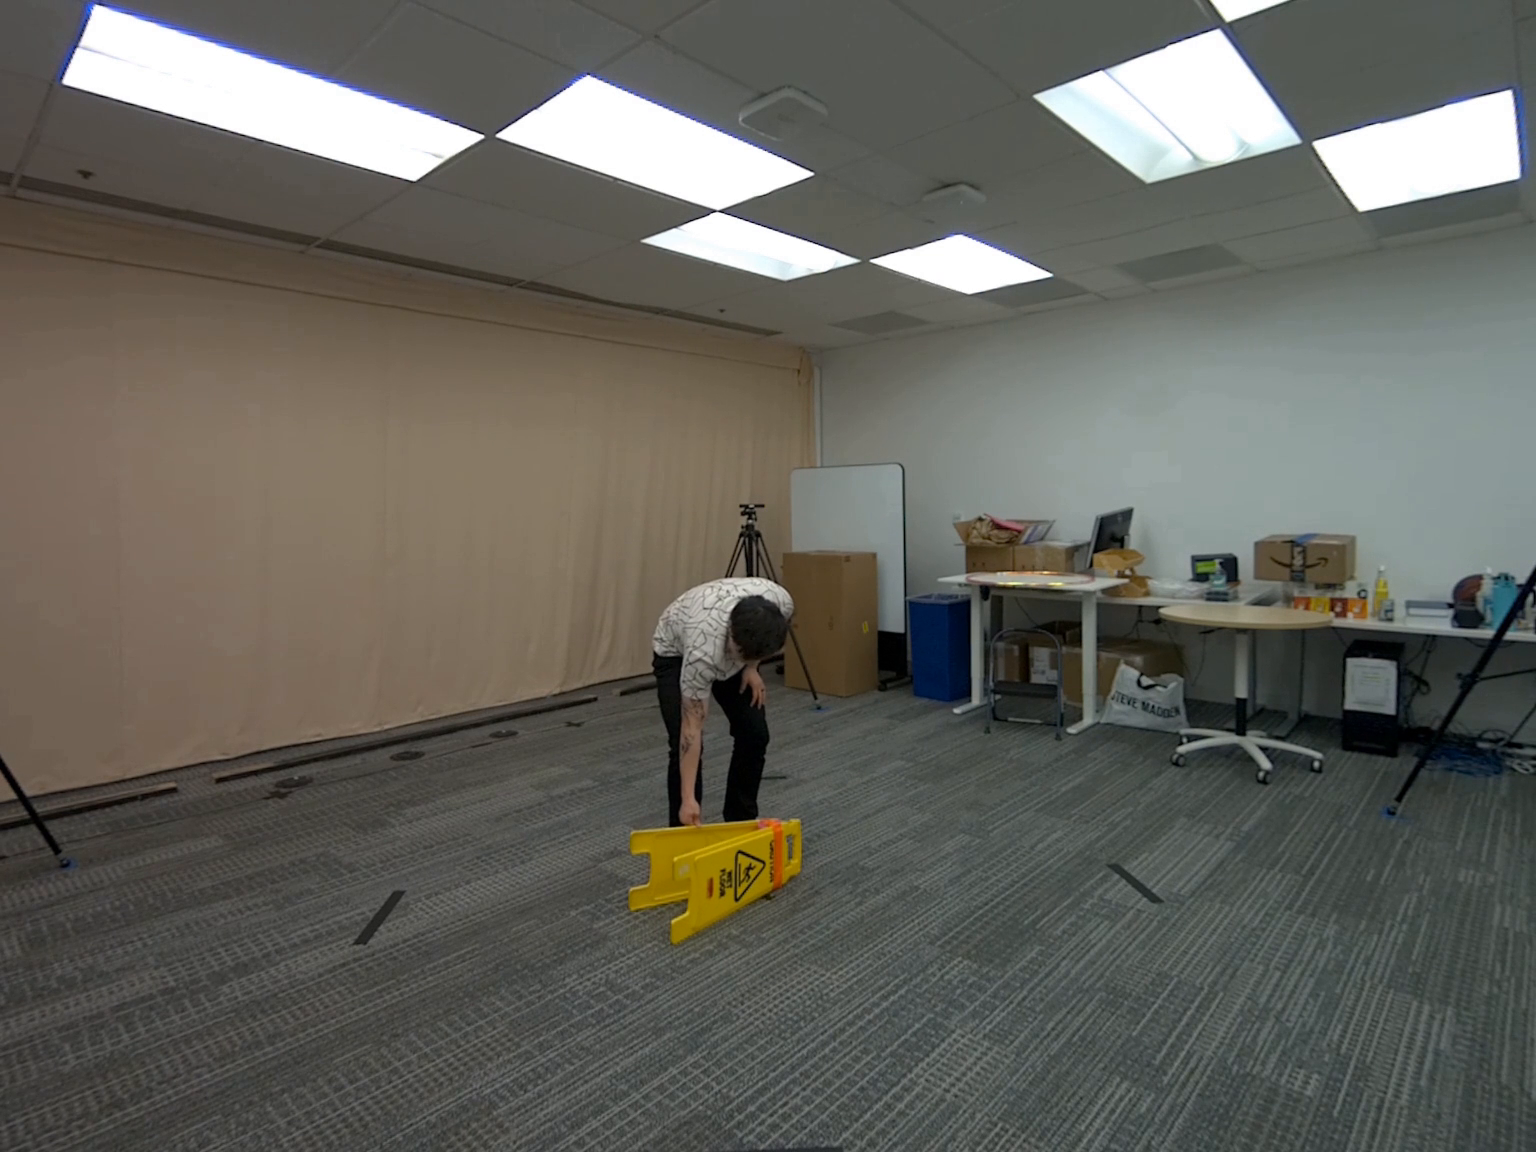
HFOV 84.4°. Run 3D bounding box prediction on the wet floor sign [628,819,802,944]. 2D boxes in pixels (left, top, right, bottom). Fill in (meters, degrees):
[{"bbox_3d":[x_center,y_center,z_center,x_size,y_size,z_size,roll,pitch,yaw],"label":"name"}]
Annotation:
[{"bbox_3d":[-0.136,1.015,2.960,0.627,0.282,0.299,-2,5,-35],"label":"wet floor sign"}]
